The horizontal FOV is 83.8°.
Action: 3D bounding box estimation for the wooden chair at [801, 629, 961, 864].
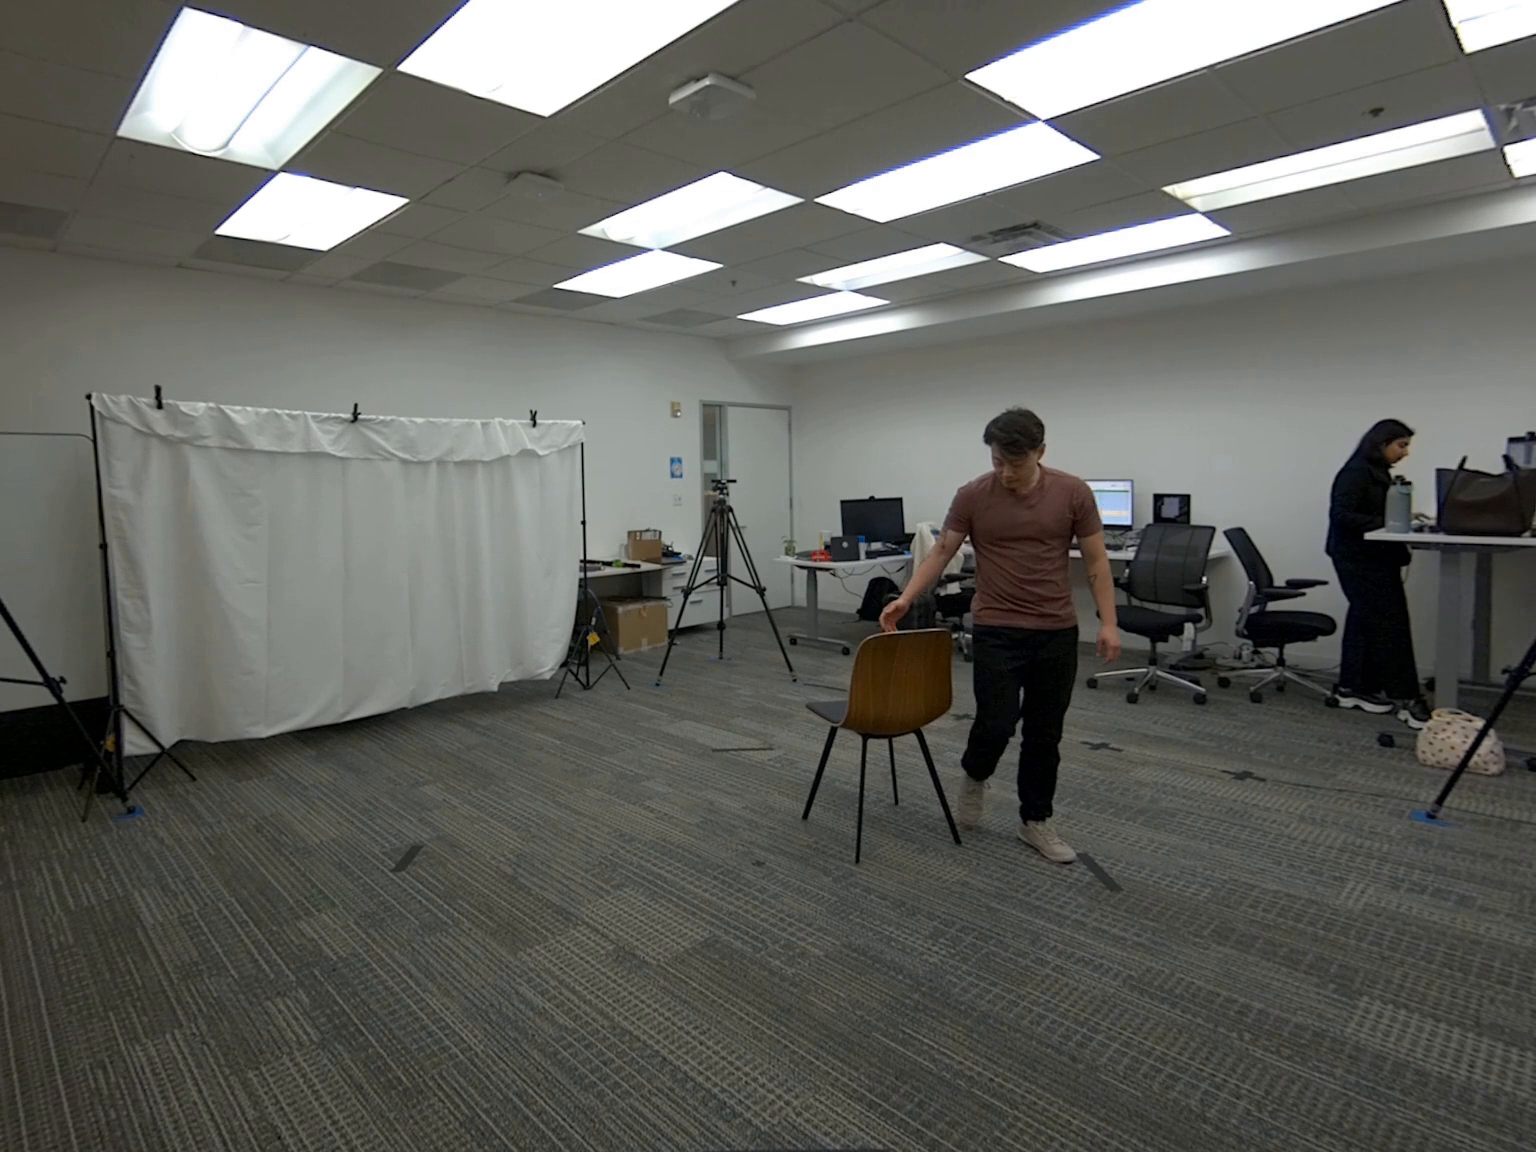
[{"bbox_3d":[0.423,0.584,3.353,0.469,0.871,0.537,-3,9,-22],"label":"wooden chair"}]
